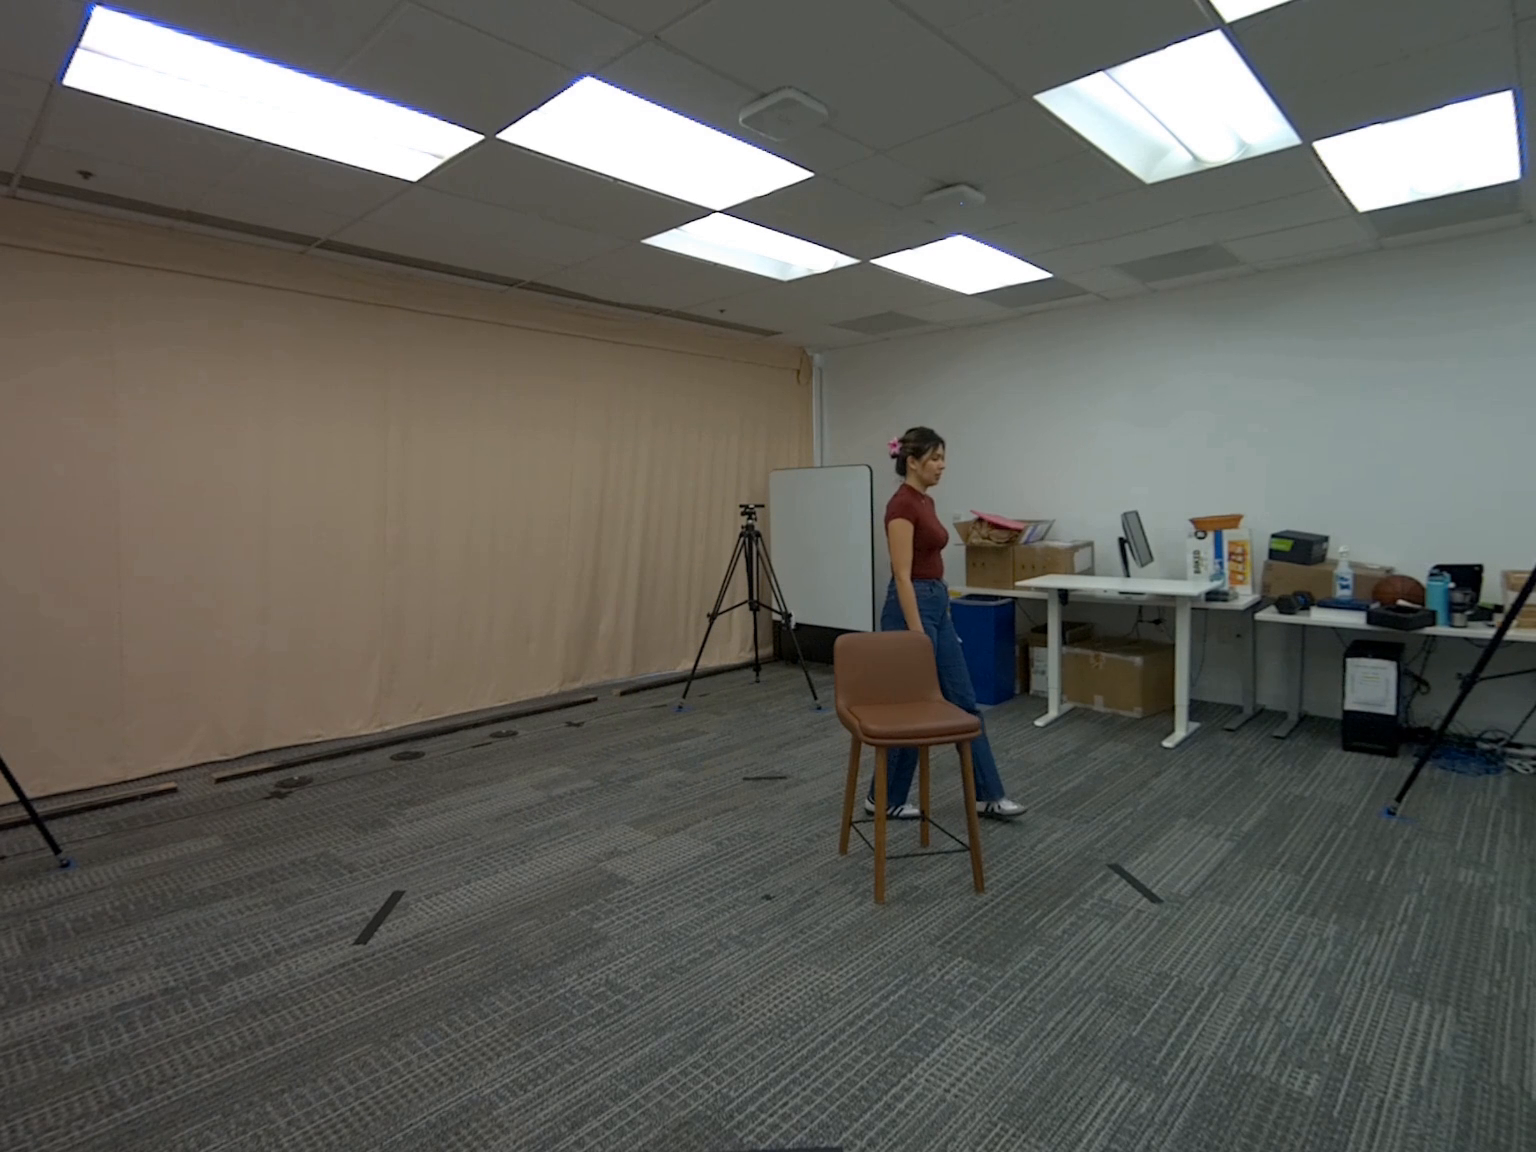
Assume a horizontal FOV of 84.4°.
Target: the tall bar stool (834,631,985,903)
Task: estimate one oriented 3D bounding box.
[{"bbox_3d":[0.516,0.683,3.159,0.450,0.889,0.475,-1,2,-14],"label":"tall bar stool"}]
